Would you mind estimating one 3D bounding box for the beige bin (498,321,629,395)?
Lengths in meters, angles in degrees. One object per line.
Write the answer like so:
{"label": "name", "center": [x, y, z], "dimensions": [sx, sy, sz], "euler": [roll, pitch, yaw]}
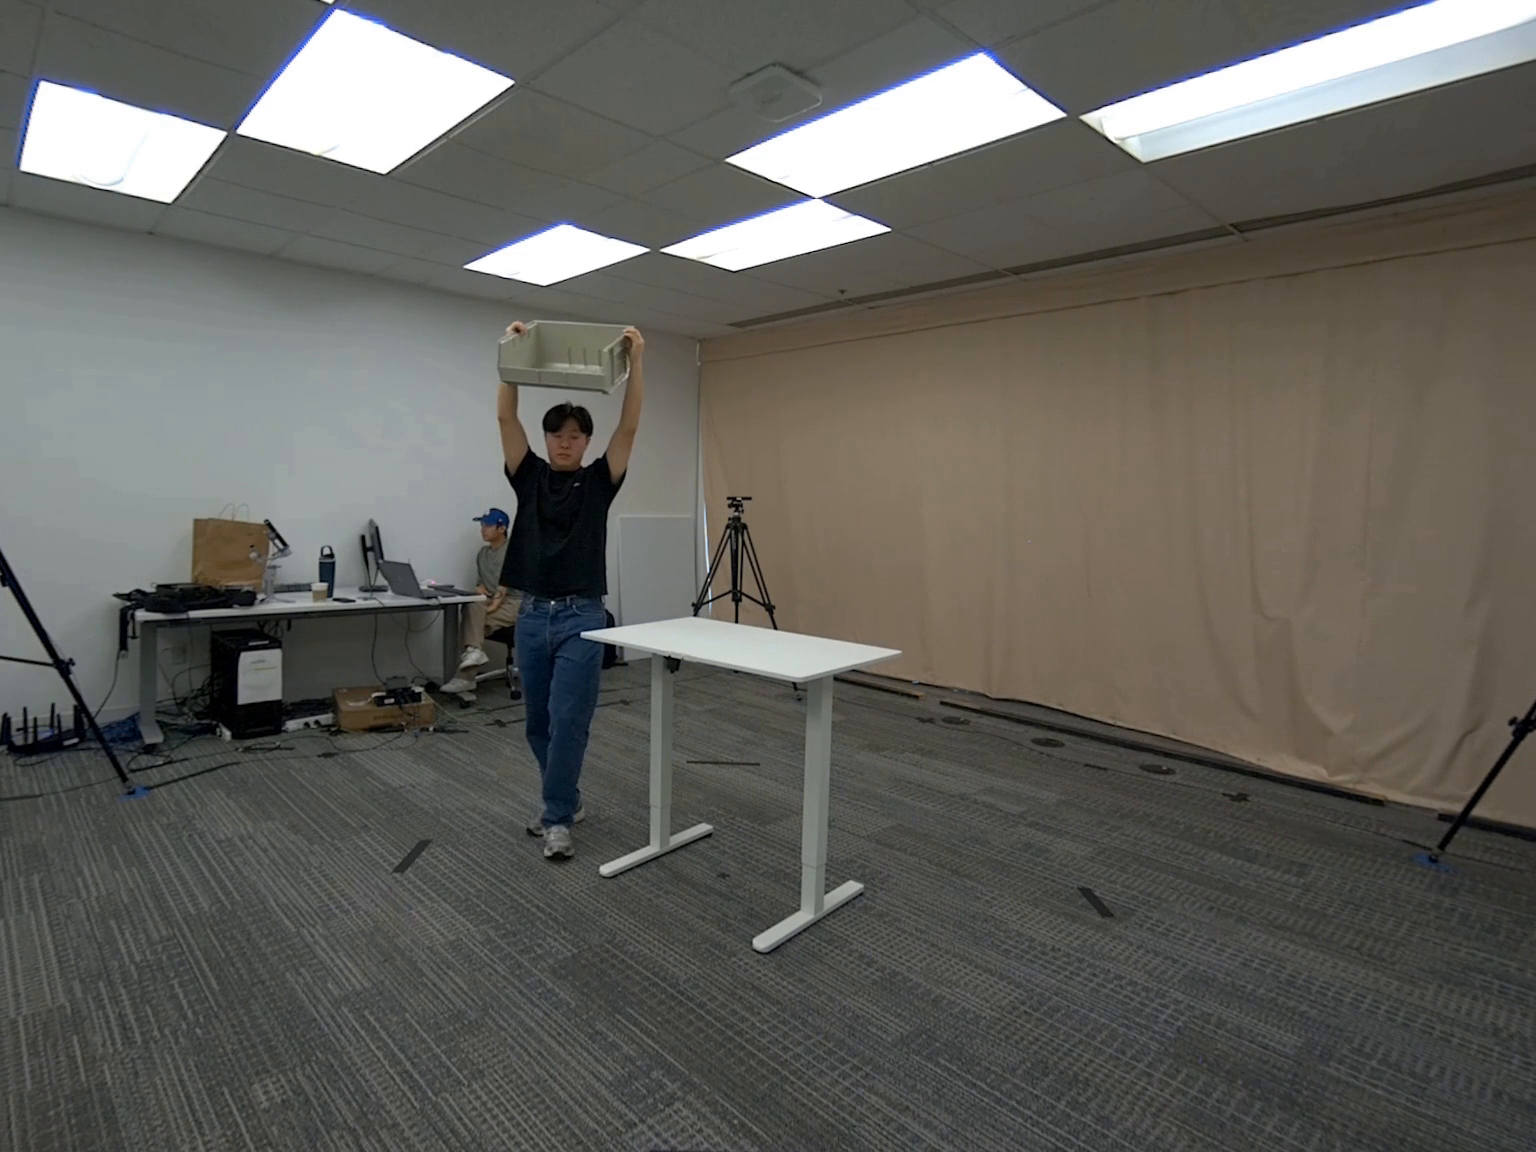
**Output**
{"label": "beige bin", "center": [-0.768, -0.839, 3.225], "dimensions": [0.425, 0.186, 0.381], "euler": [7, 29, 7]}
